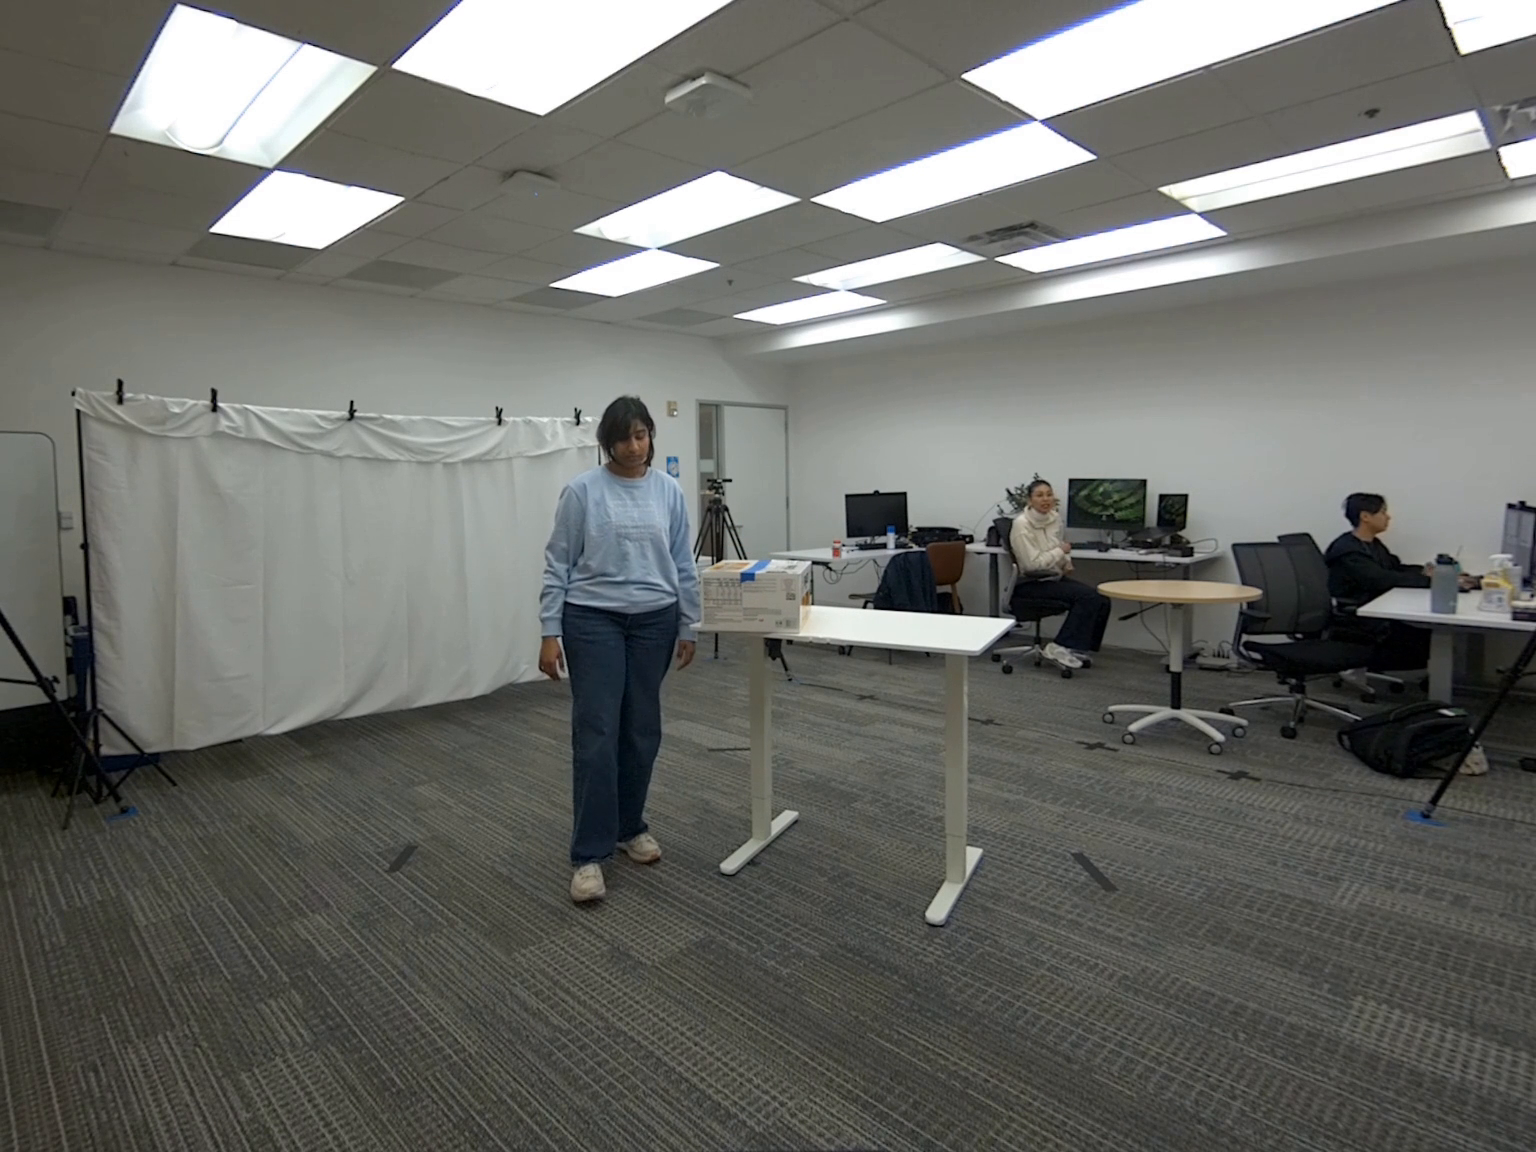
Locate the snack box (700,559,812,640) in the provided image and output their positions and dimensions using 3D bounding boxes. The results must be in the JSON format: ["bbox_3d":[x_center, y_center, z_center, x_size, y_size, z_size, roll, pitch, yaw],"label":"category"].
[{"bbox_3d":[-0.039,0.069,3.044,0.344,0.205,0.403,0,6,10],"label":"snack box"}]
